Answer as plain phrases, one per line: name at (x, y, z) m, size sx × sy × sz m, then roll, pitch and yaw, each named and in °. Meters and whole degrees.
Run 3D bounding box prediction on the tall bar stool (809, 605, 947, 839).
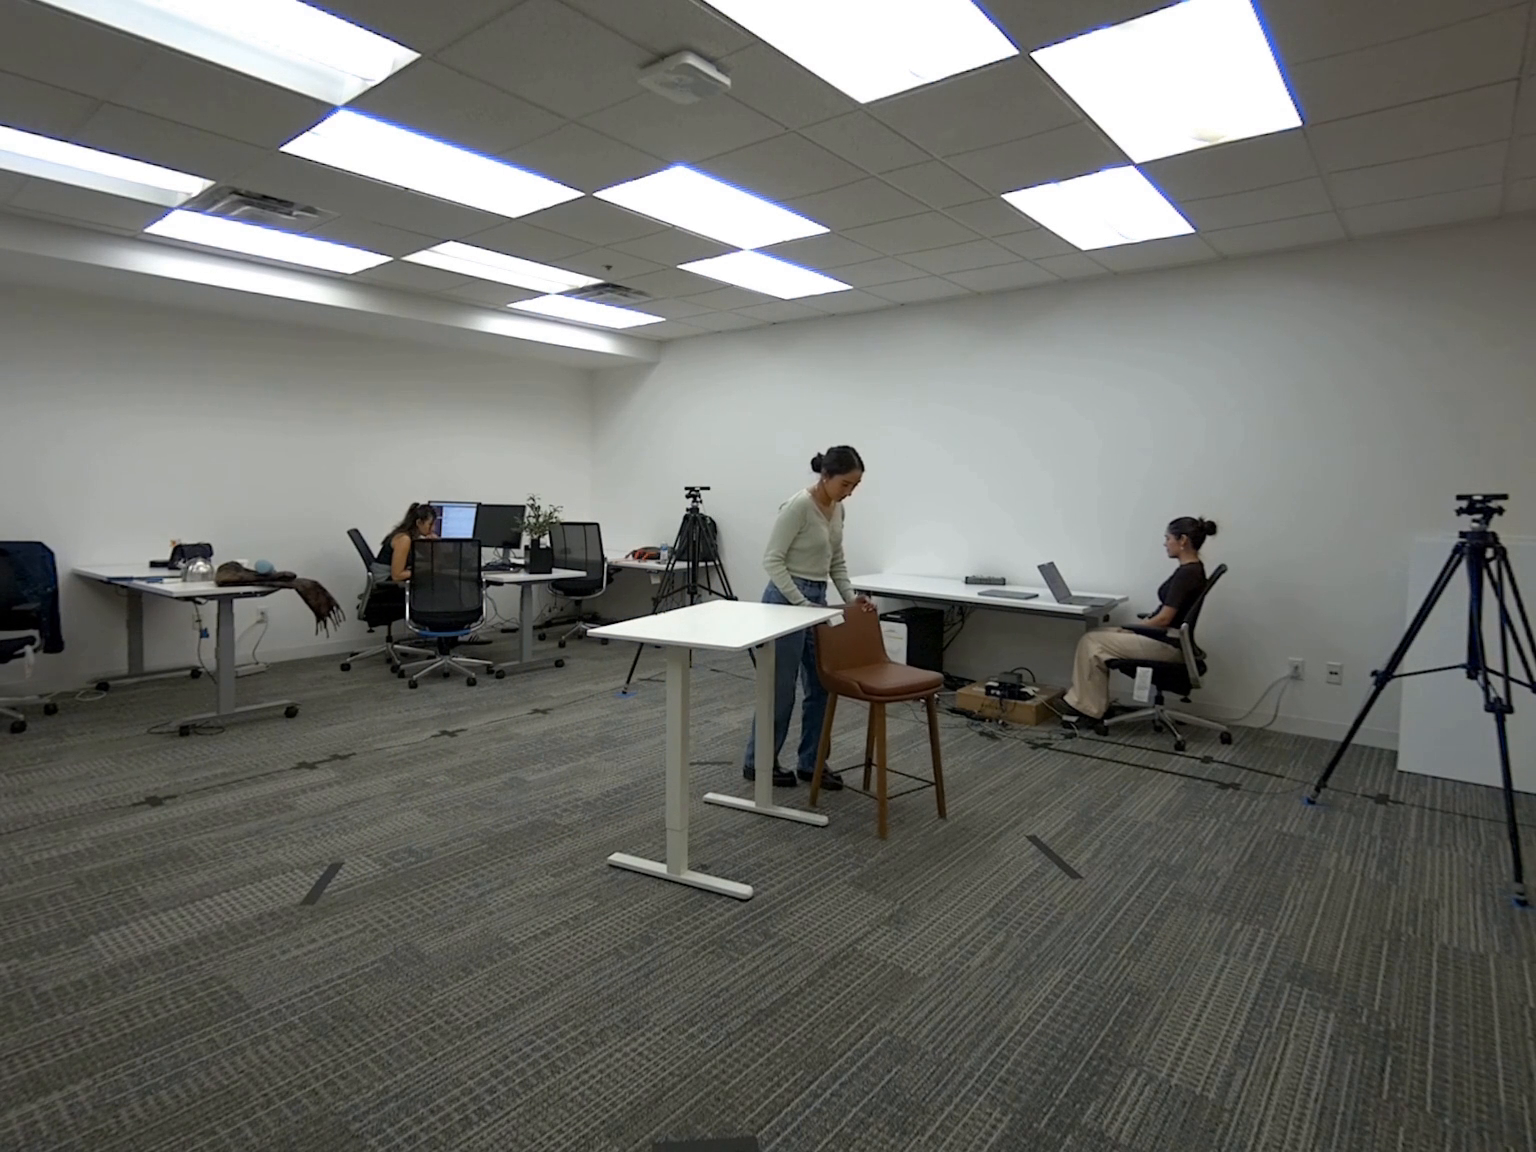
tall bar stool at (0.461, 0.582, 3.670) m, size 0.443 × 0.889 × 0.483 m, roll -1°, pitch 2°, yaw -40°
